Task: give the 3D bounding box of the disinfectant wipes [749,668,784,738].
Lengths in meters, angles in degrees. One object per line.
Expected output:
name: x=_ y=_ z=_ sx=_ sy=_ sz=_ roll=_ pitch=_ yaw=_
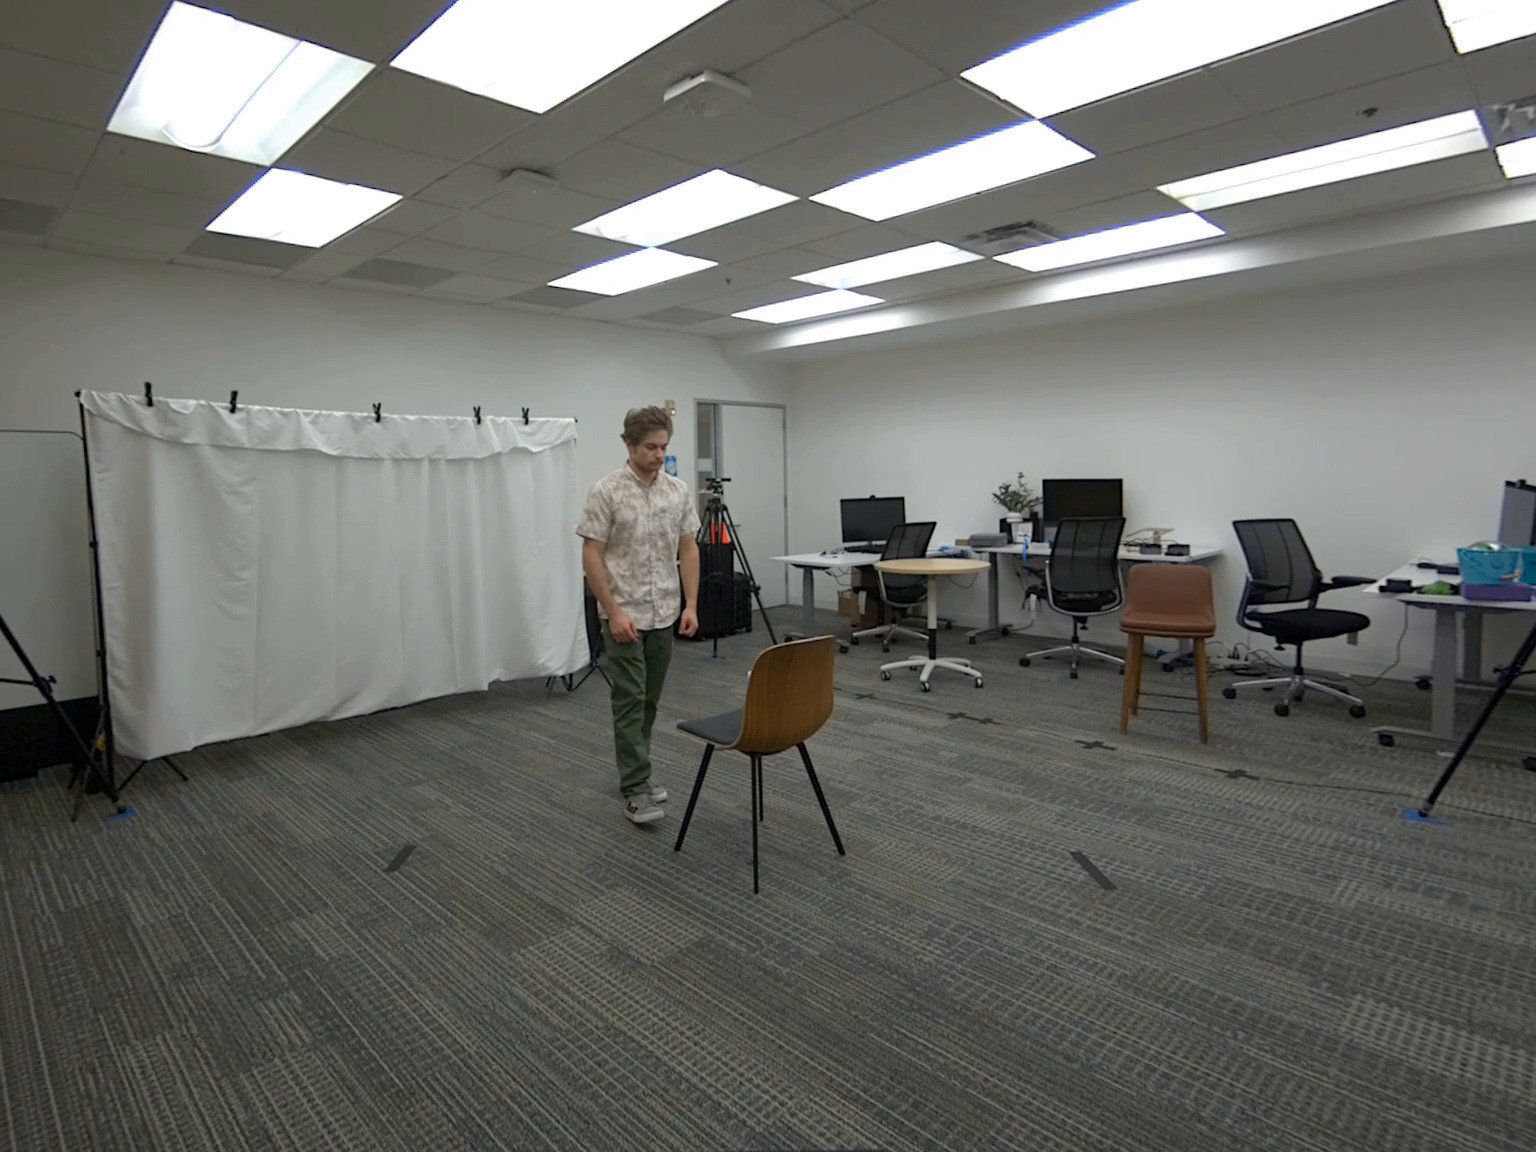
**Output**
disinfectant wipes: x=-0.008 y=0.461 z=3.136 sx=0.118 sy=0.216 sz=0.119 roll=-1 pitch=8 yaw=-2
